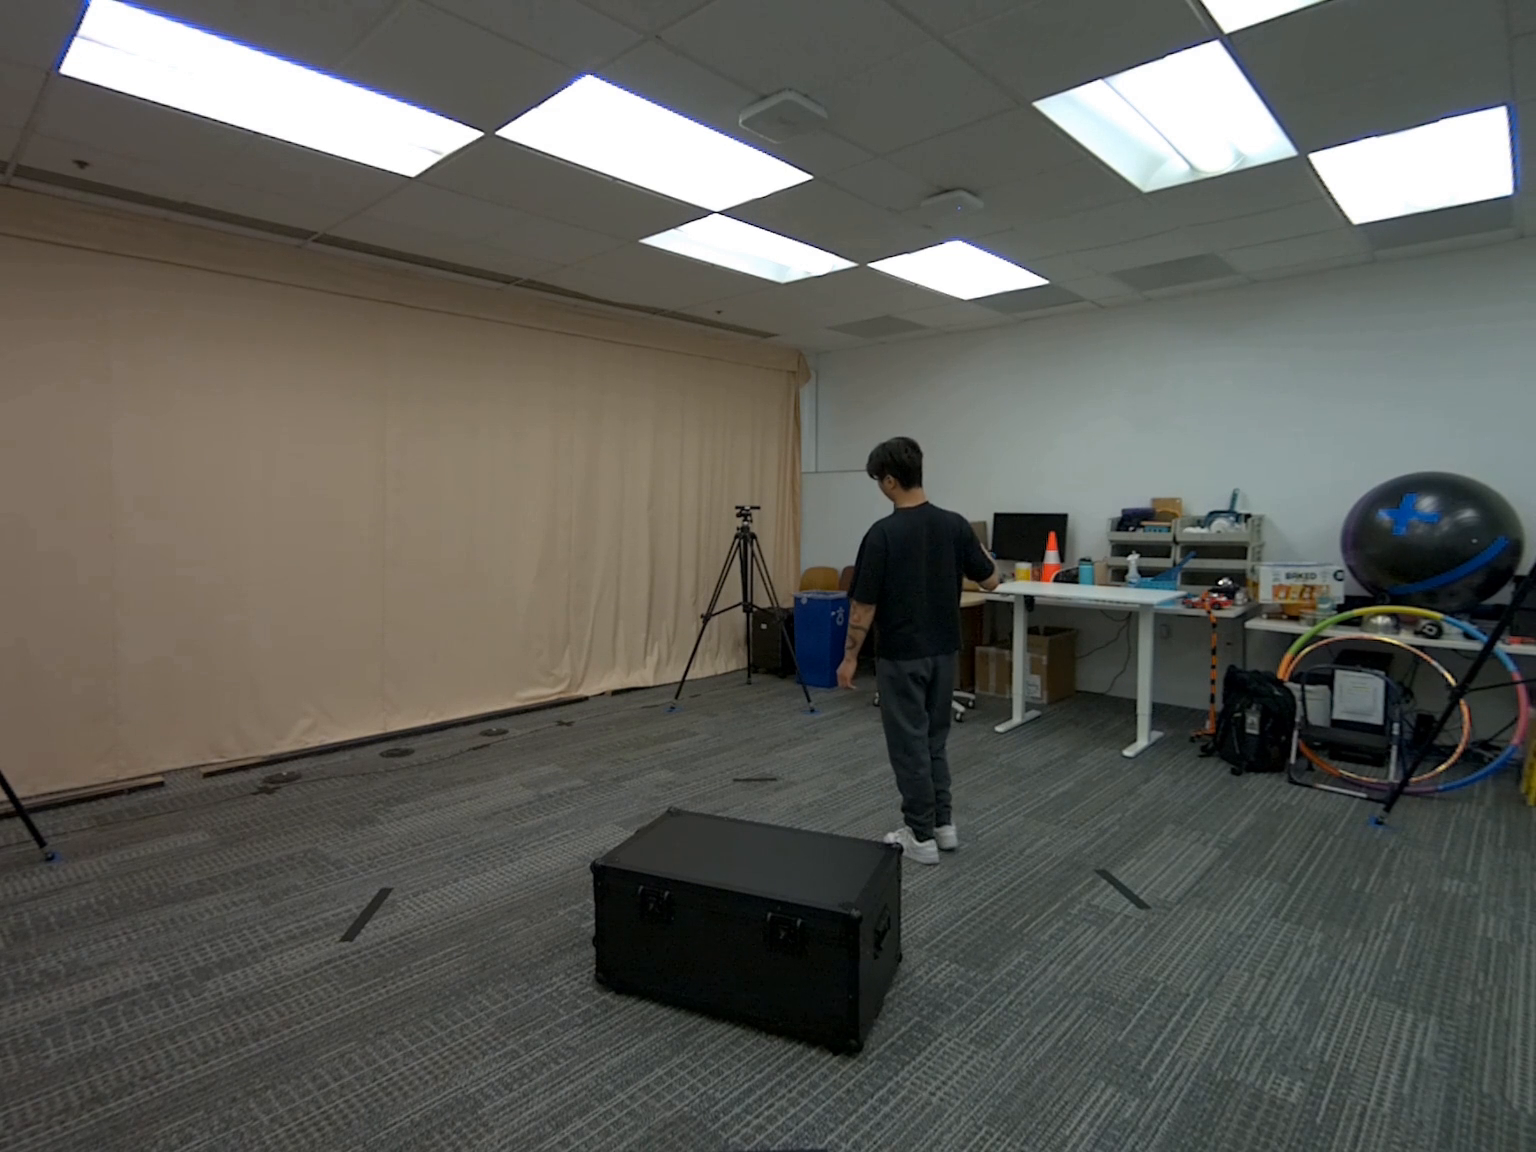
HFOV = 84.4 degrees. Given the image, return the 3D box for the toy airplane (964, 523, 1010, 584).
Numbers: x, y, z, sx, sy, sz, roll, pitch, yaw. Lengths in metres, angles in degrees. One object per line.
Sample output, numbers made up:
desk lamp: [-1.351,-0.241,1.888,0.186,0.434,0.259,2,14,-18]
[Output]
toy airplane: [0.859,-0.106,3.690,0.257,0.155,0.256,7,31,-8]
